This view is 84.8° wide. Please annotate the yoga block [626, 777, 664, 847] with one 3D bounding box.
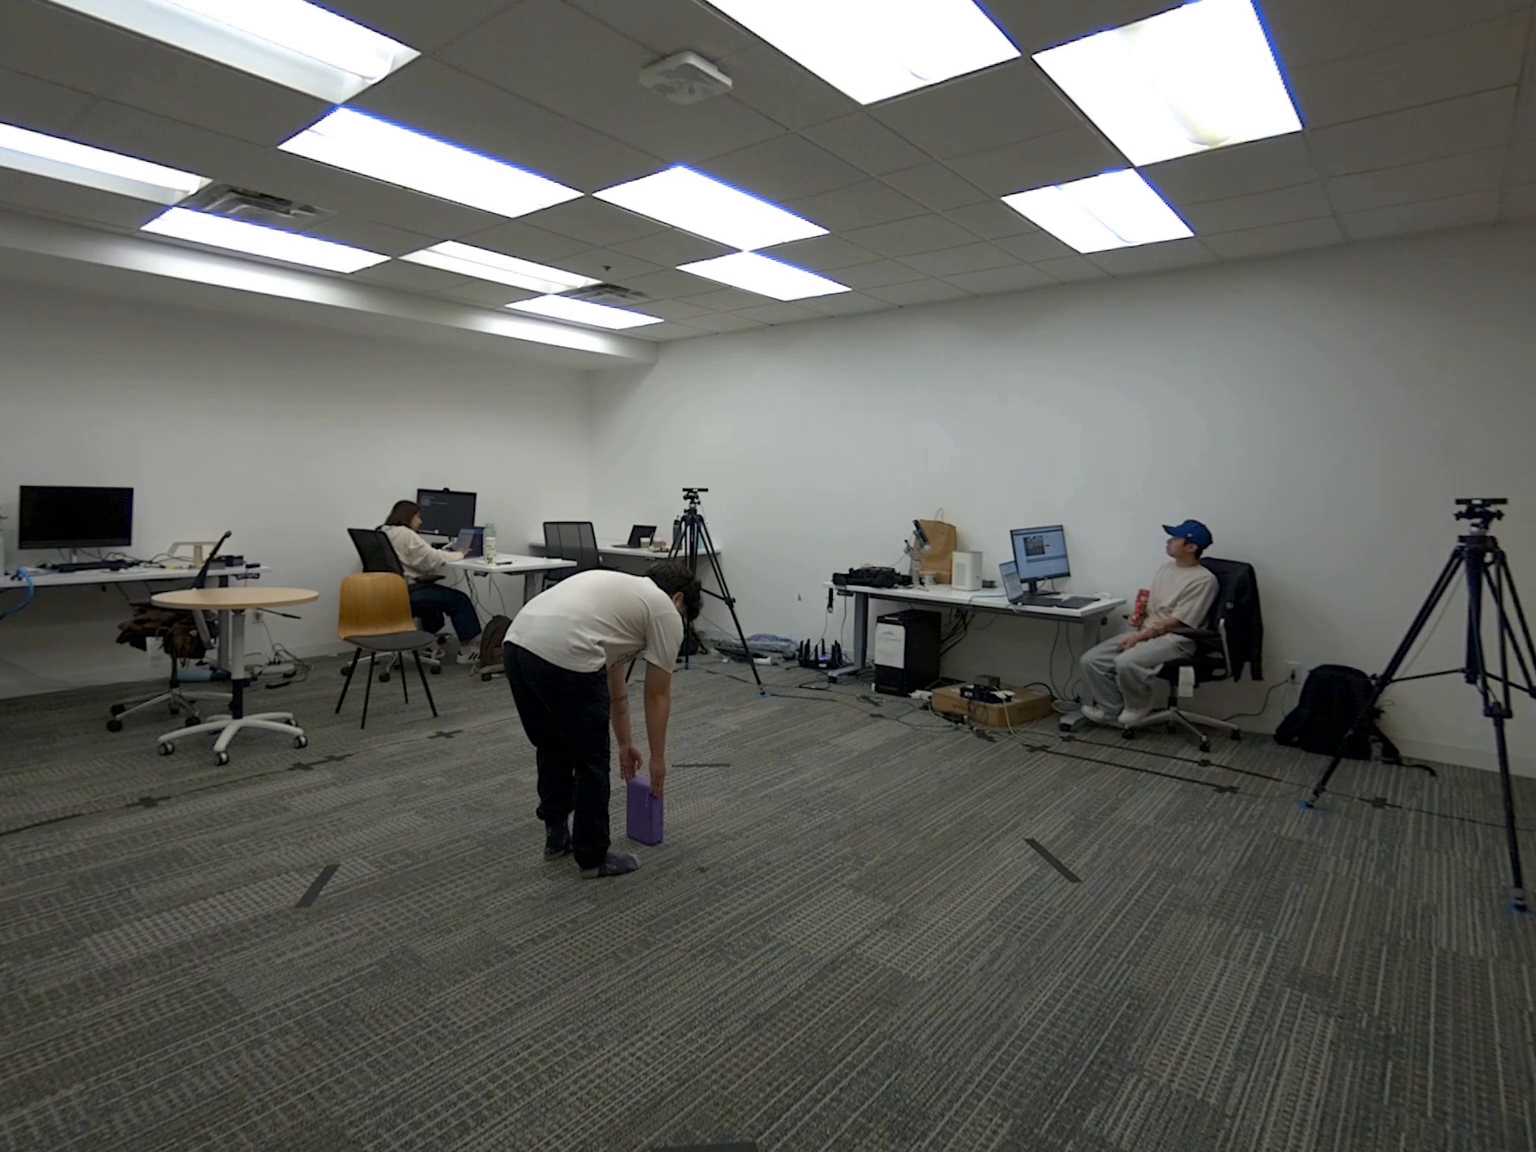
[{"bbox_3d":[-0.503,0.929,3.369,0.154,0.228,0.074,2,5,40],"label":"yoga block"}]
